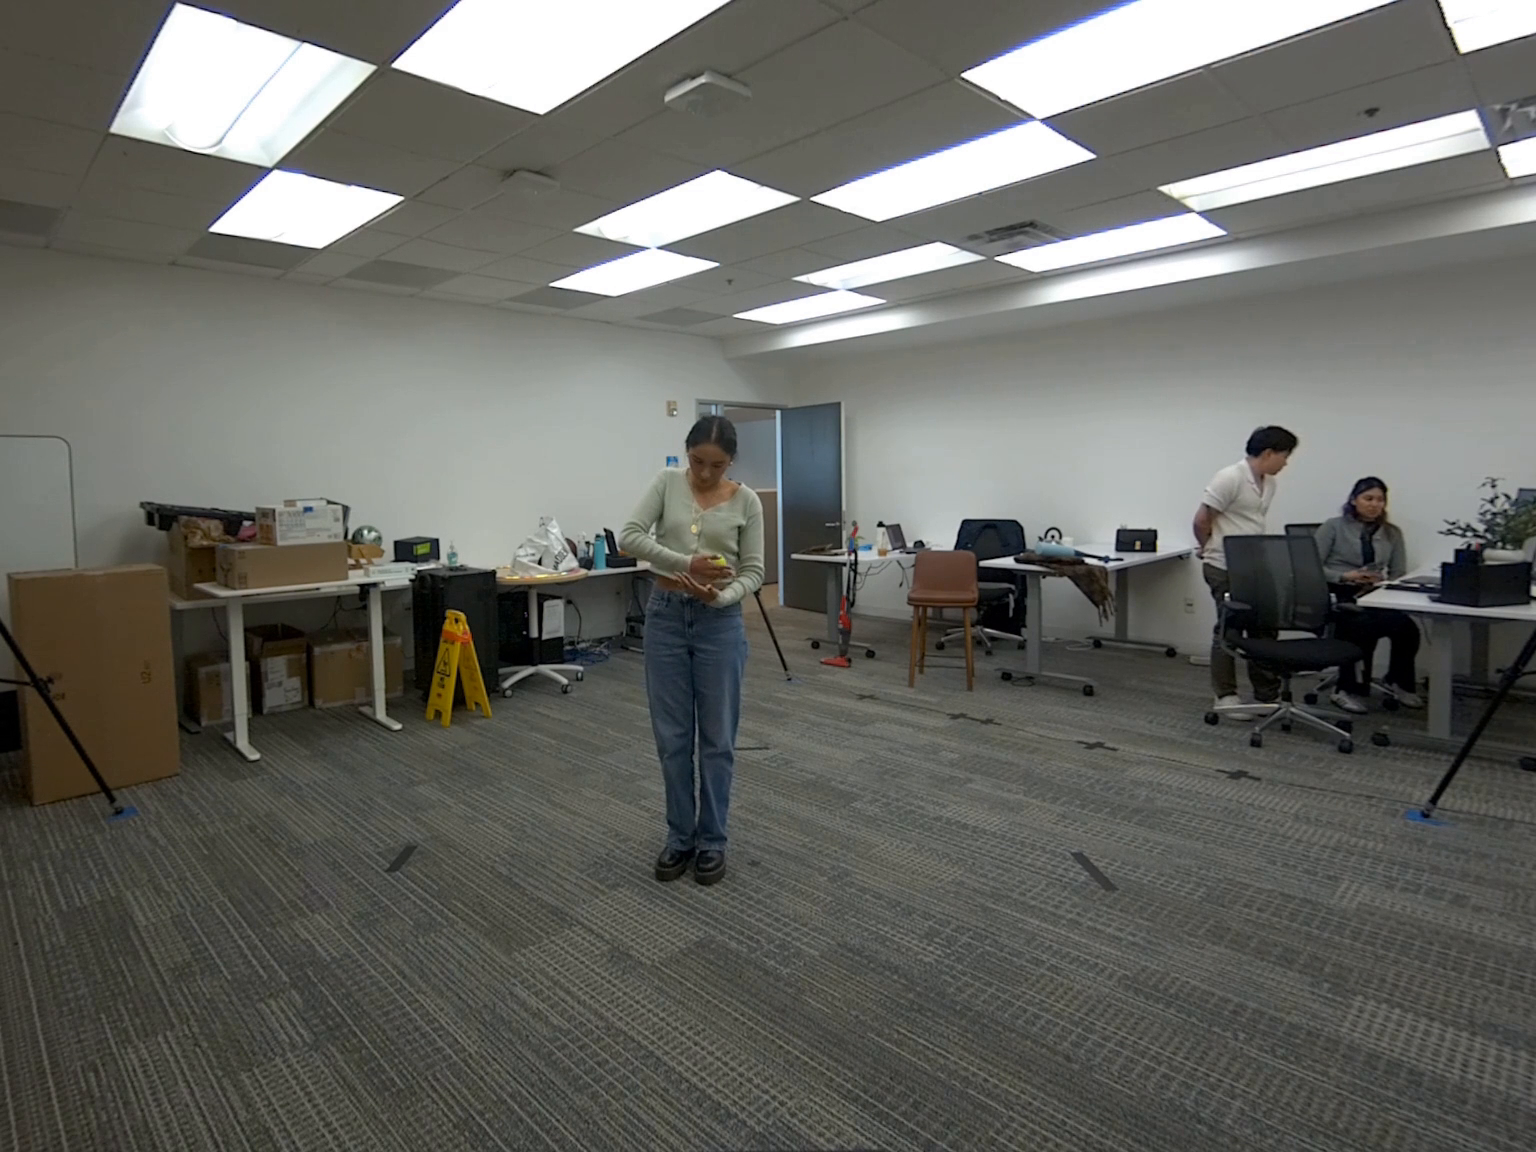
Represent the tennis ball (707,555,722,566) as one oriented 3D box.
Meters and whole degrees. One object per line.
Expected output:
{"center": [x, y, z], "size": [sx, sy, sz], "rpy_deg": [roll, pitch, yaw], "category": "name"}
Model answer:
{"center": [-0.219, -0.036, 2.919], "size": [0.066, 0.066, 0.067], "rpy_deg": [-1, 5, -2], "category": "tennis ball"}
